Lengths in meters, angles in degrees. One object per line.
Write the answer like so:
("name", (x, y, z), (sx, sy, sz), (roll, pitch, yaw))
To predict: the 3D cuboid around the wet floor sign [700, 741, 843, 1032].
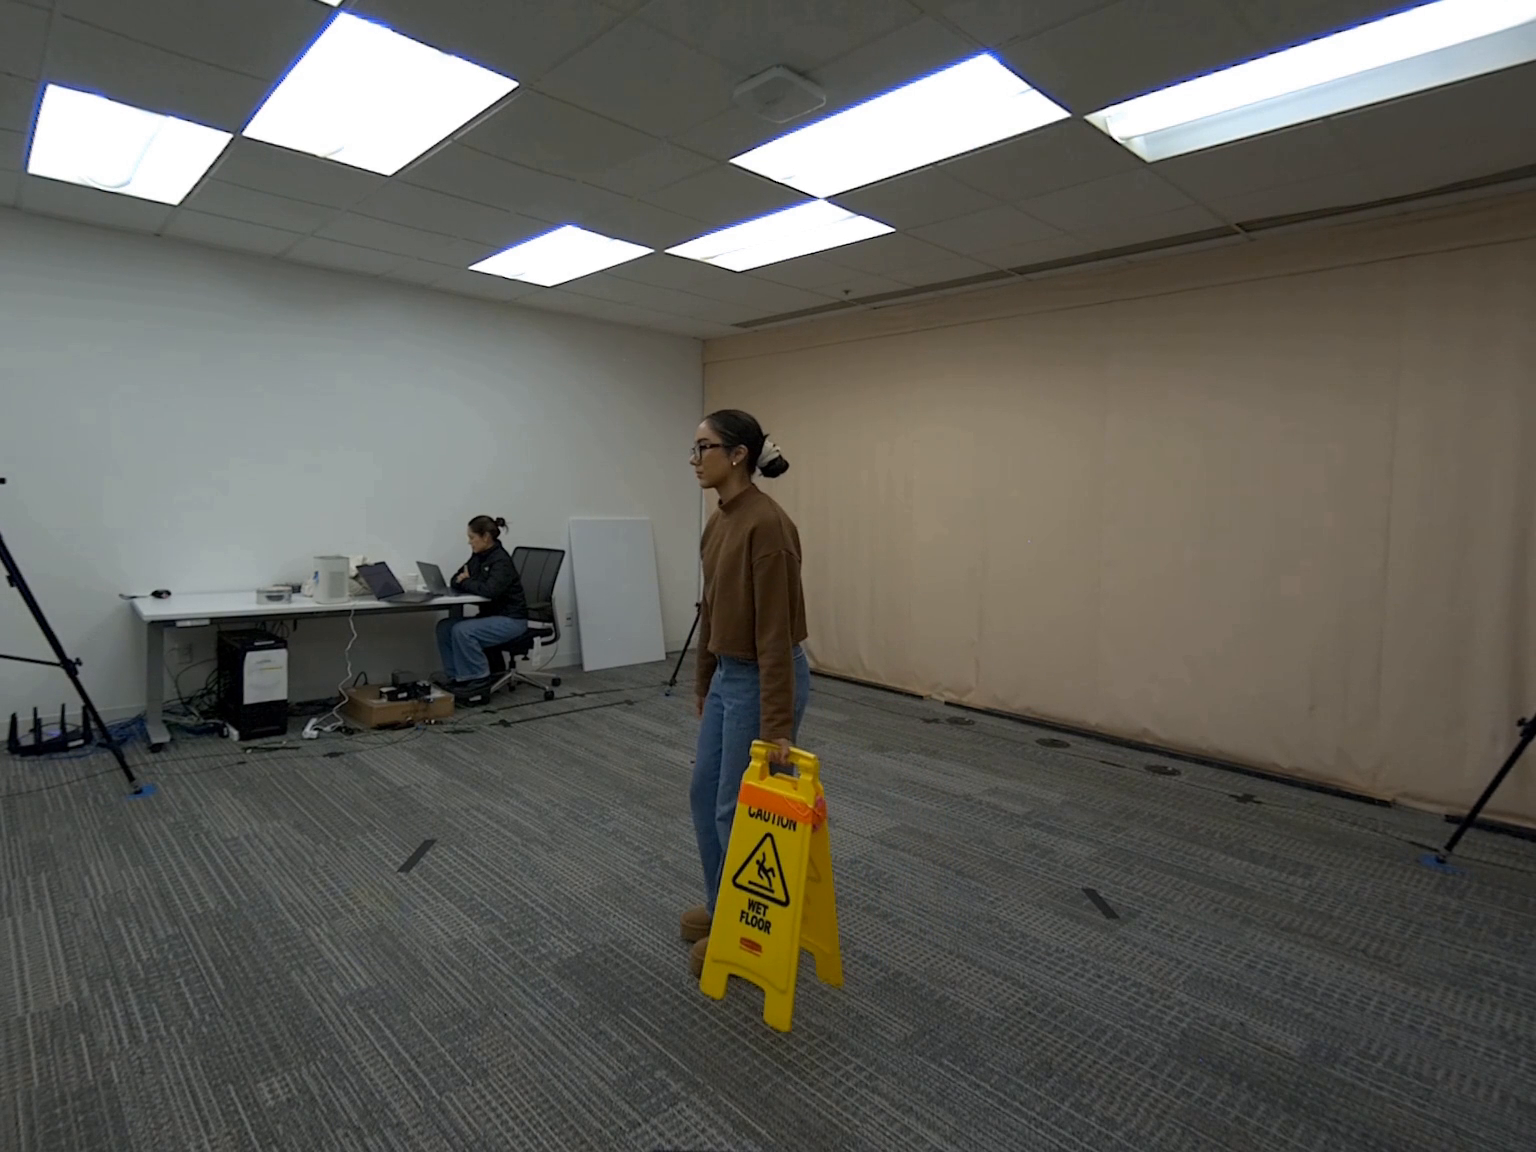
("wet floor sign", (0.026, 0.773, 2.207), (0.289, 0.645, 0.283), (6, 4, 35))
